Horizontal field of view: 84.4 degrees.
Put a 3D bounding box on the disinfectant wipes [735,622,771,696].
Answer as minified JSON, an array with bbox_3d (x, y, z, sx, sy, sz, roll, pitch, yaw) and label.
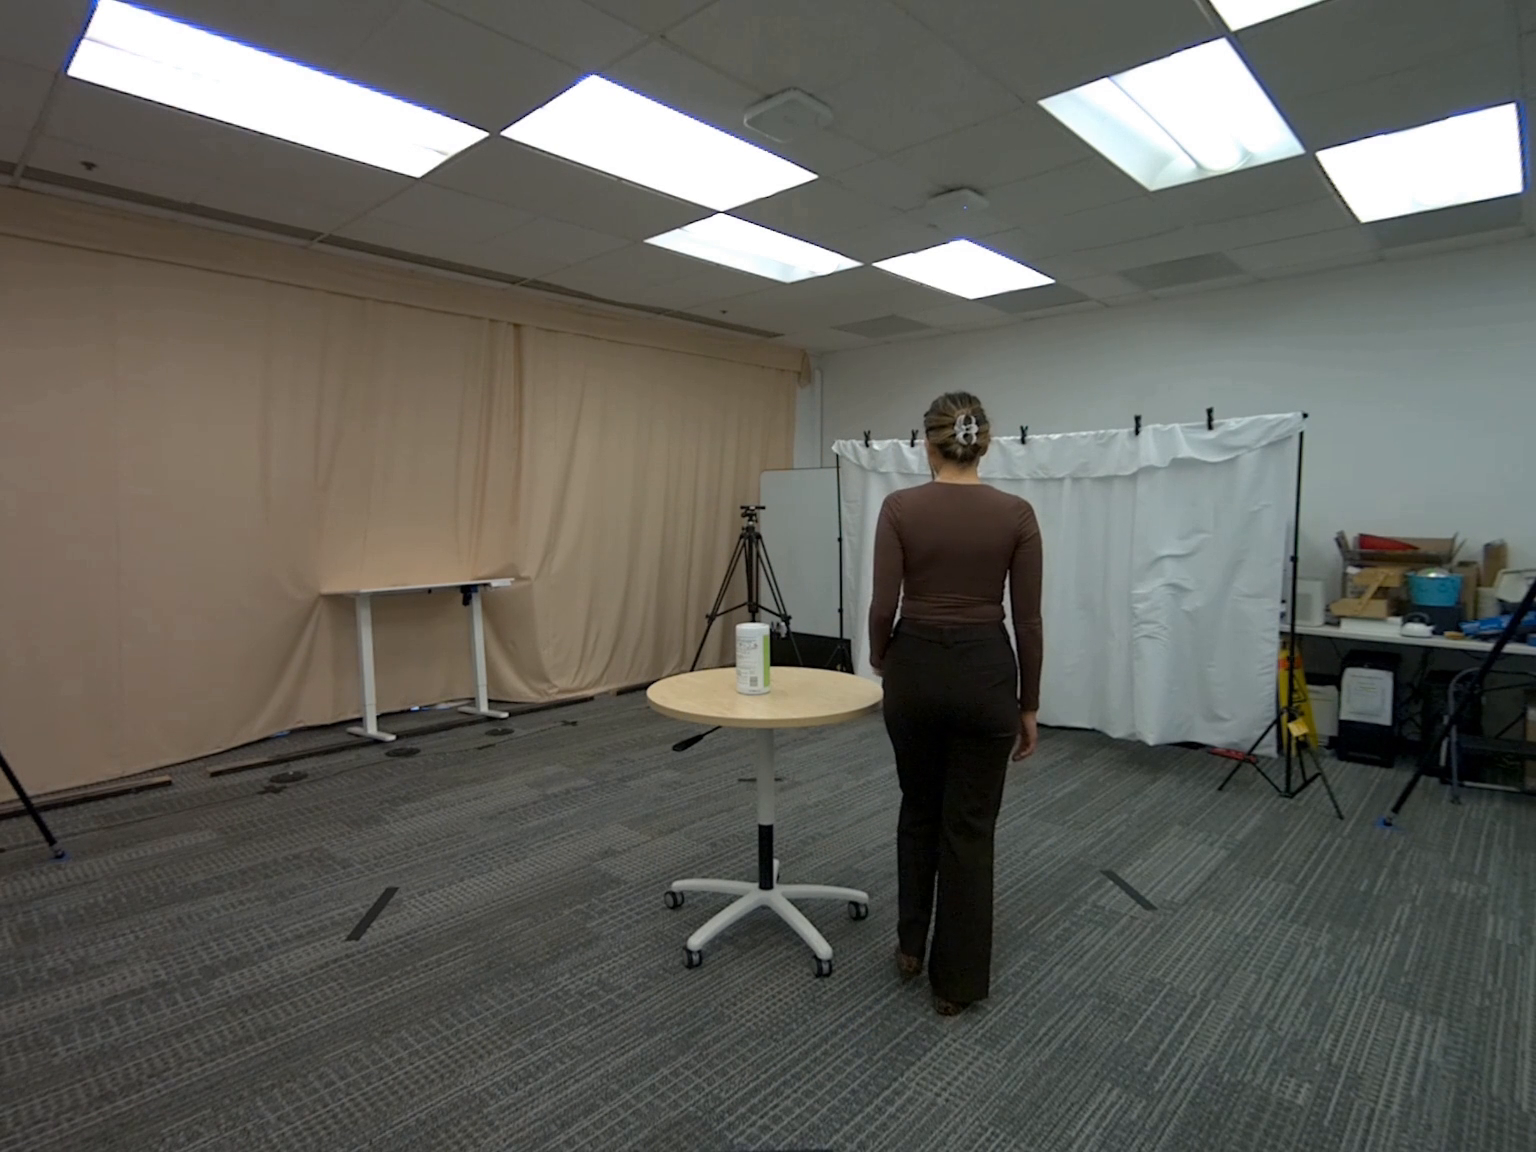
[{"bbox_3d":[-0.043,0.269,2.684,0.118,0.217,0.118,-1,3,-2],"label":"disinfectant wipes"}]
